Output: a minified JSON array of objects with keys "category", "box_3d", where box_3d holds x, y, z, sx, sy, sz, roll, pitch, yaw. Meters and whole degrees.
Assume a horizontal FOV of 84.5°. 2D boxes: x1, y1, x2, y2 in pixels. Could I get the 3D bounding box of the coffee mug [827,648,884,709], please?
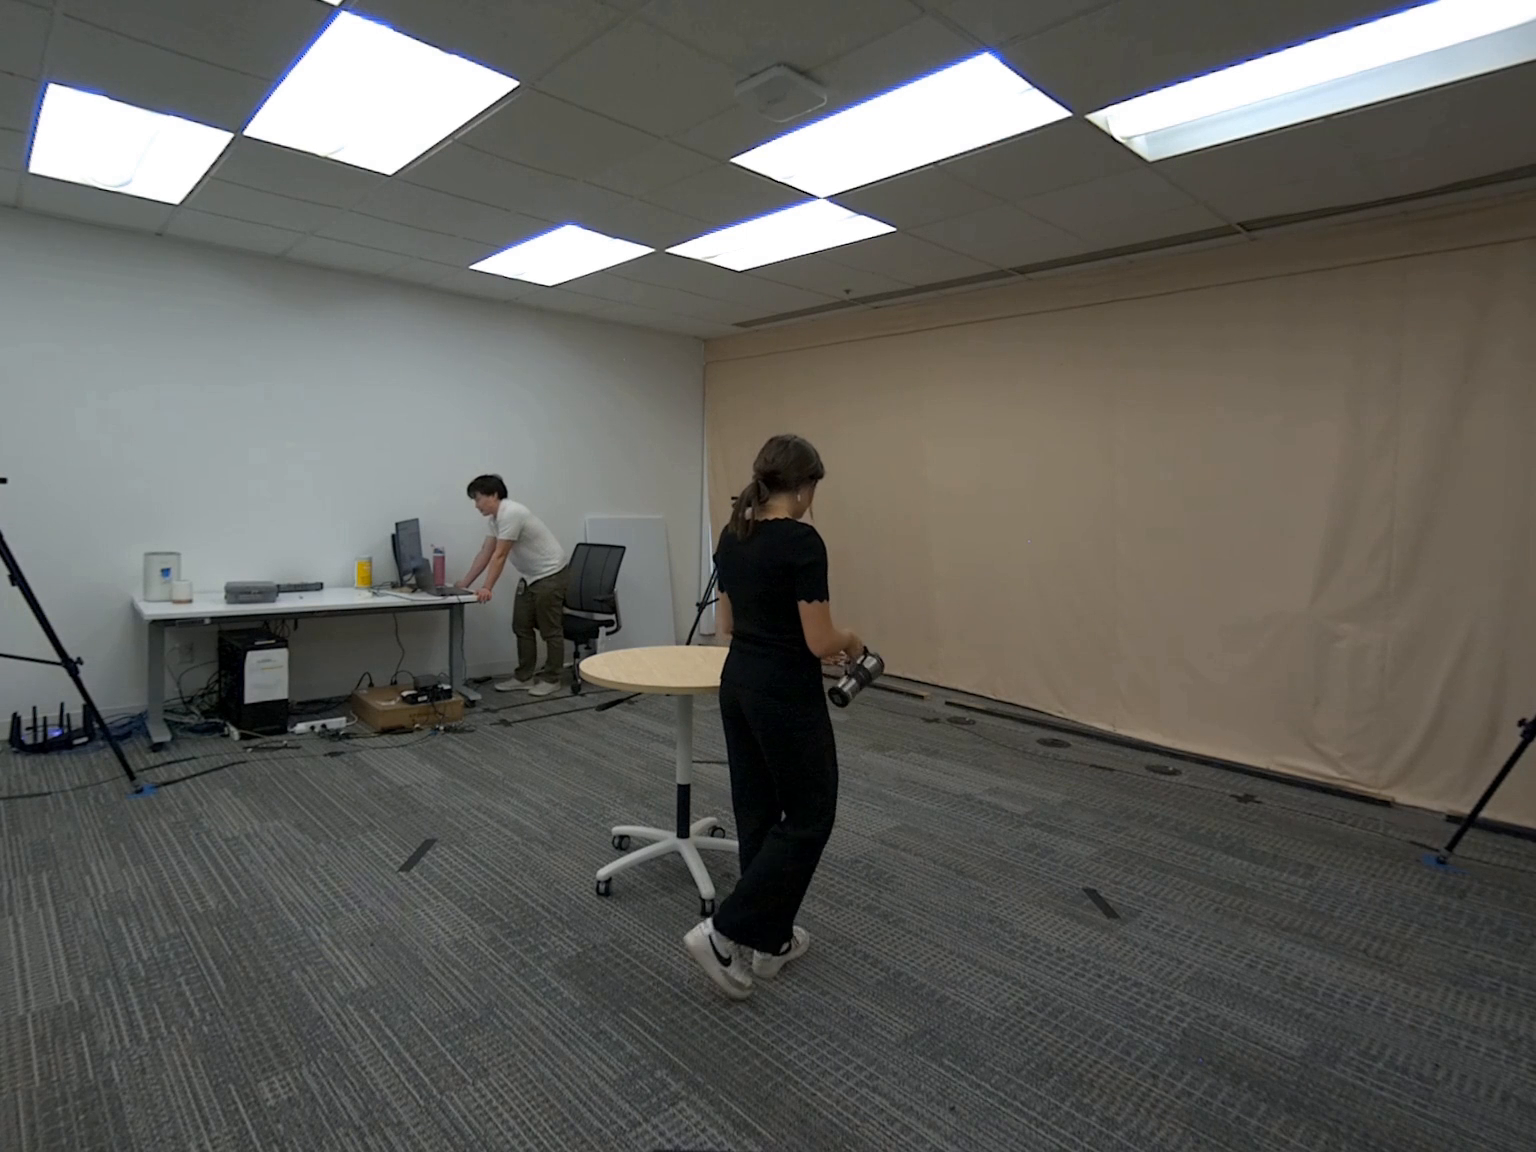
[{"category":"coffee mug","box_3d":[0.242,0.316,2.580,0.201,0.123,0.088,-34,-6,-33]}]
